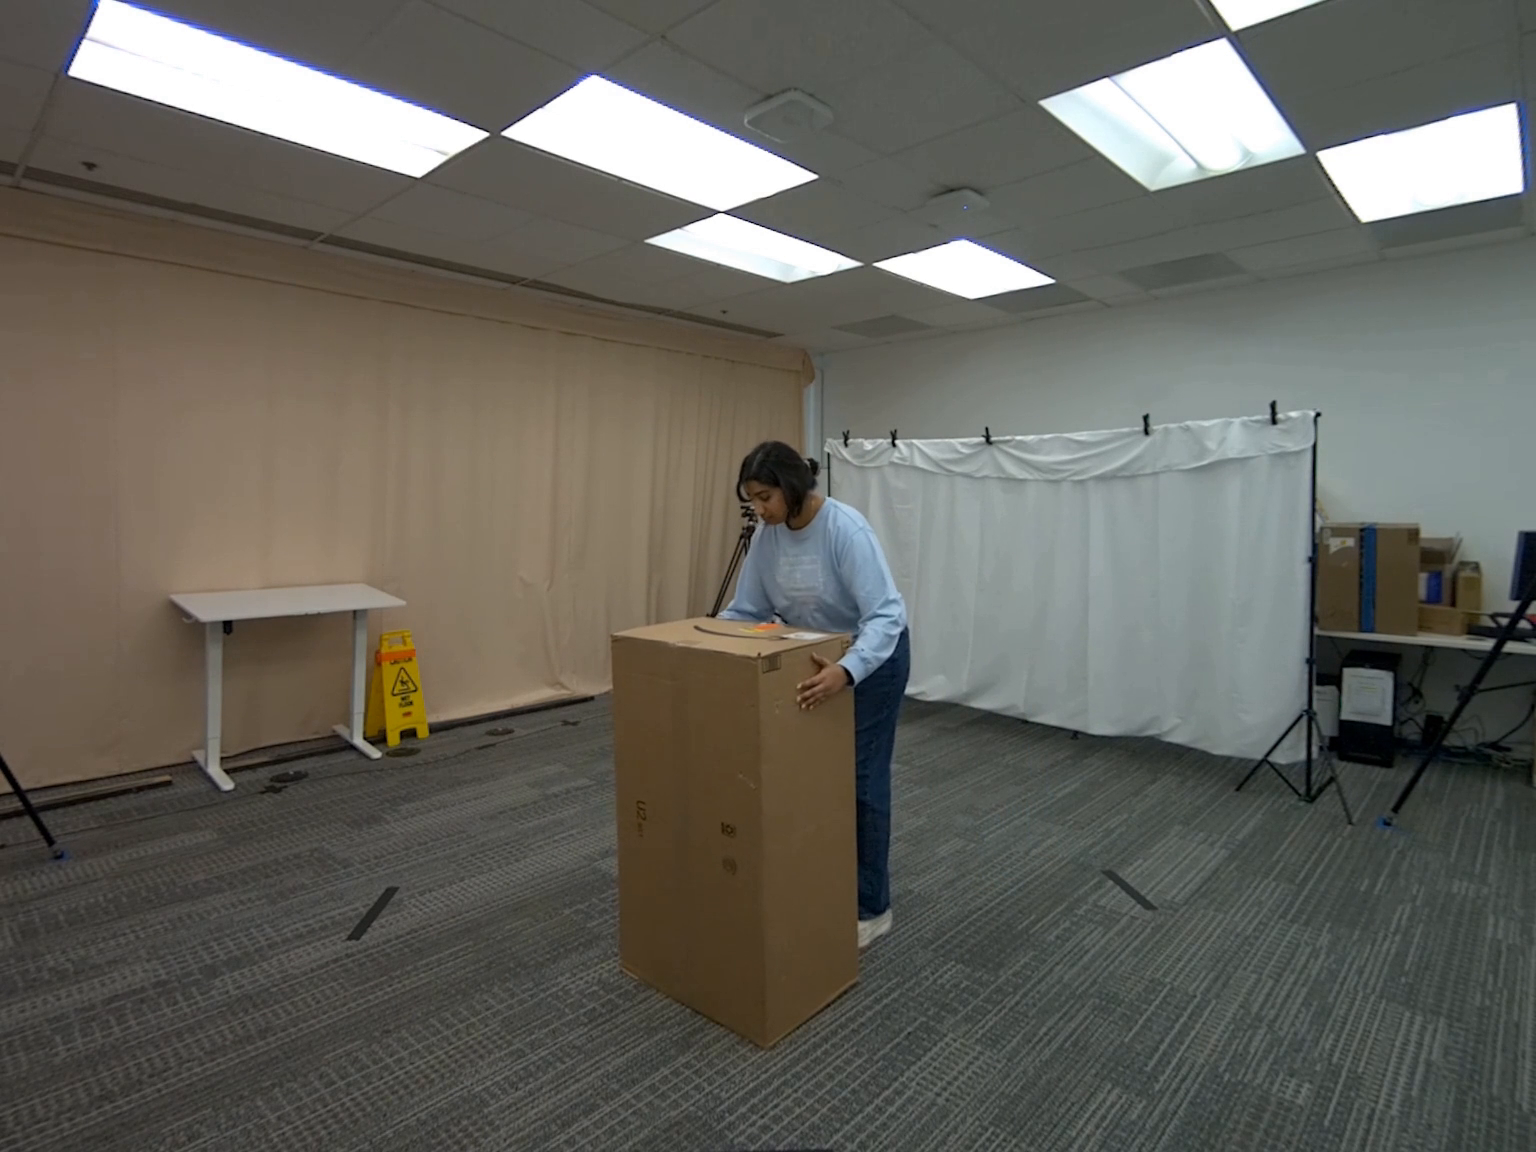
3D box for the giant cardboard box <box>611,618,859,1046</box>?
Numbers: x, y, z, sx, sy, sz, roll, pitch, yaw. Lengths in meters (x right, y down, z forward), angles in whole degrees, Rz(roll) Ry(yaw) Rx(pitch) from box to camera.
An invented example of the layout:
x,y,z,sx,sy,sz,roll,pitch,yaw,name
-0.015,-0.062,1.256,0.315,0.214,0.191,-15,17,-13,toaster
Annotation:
x,y,z,sx,sy,sz,roll,pitch,yaw,name
-0.101,0.679,2.457,0.603,1.025,0.433,3,5,43,giant cardboard box
